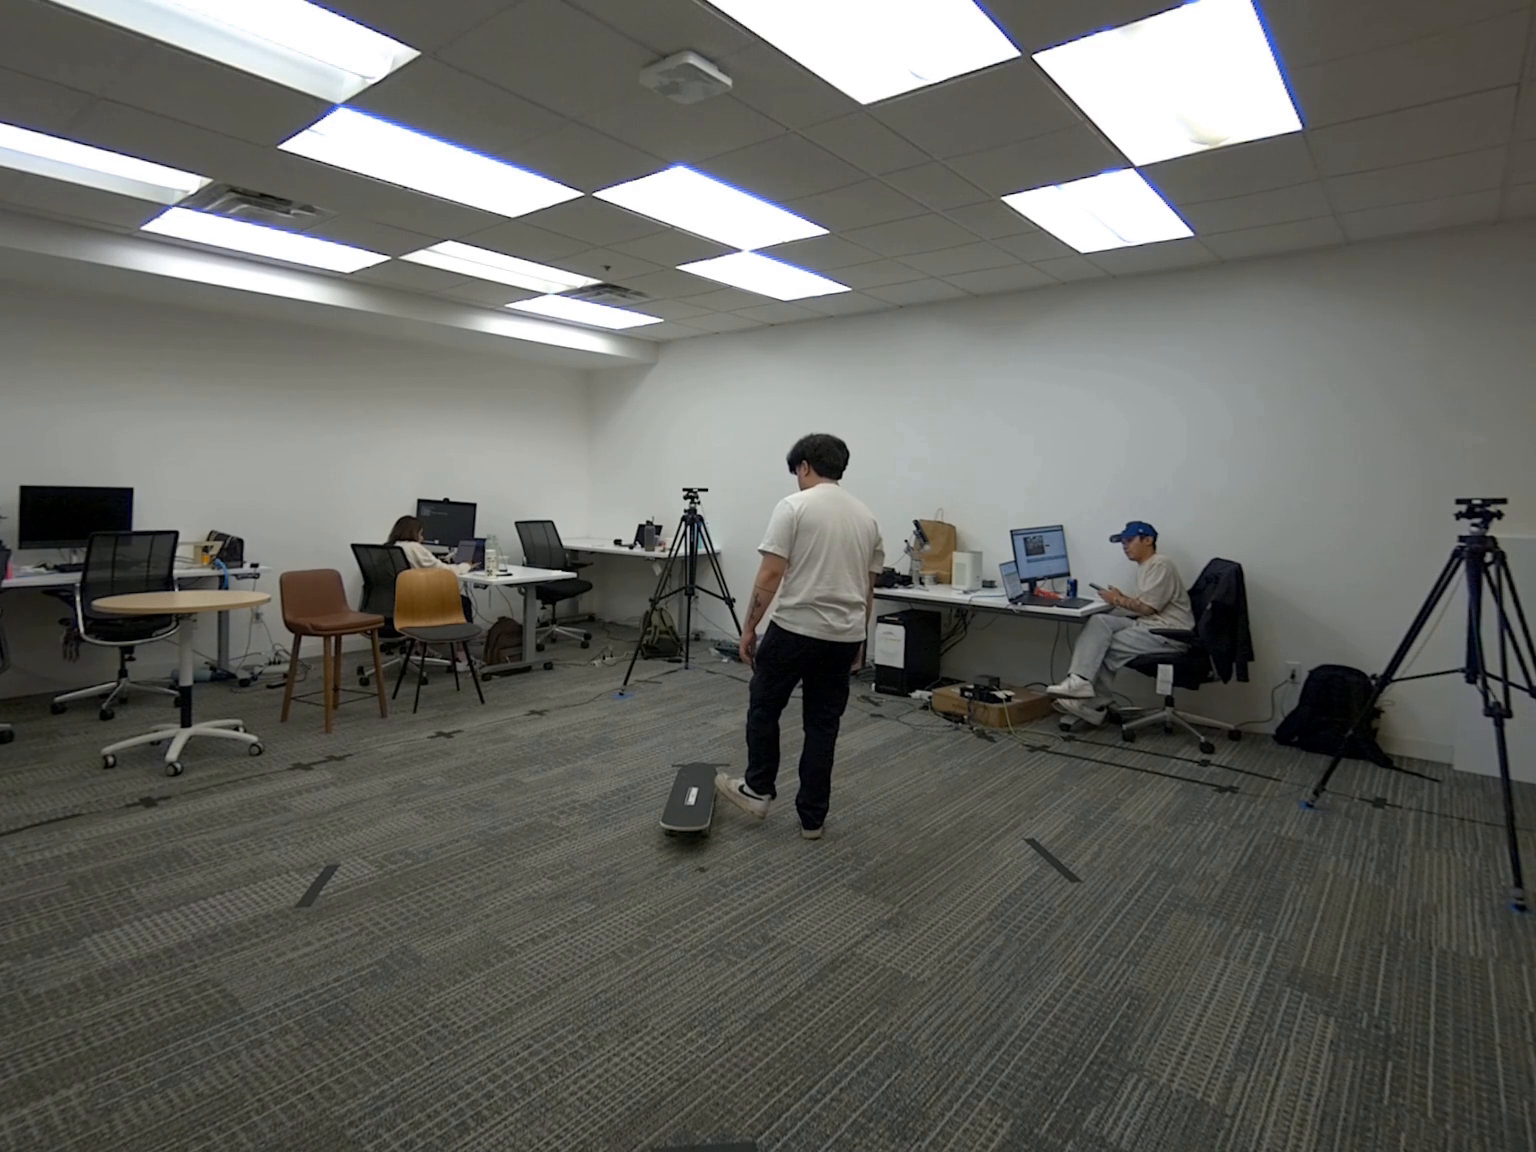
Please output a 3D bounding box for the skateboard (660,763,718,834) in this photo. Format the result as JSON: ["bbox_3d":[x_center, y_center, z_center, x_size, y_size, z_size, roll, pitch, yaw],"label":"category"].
[{"bbox_3d":[-0.333,0.957,3.601,0.194,0.110,0.786,0,6,1],"label":"skateboard"}]
